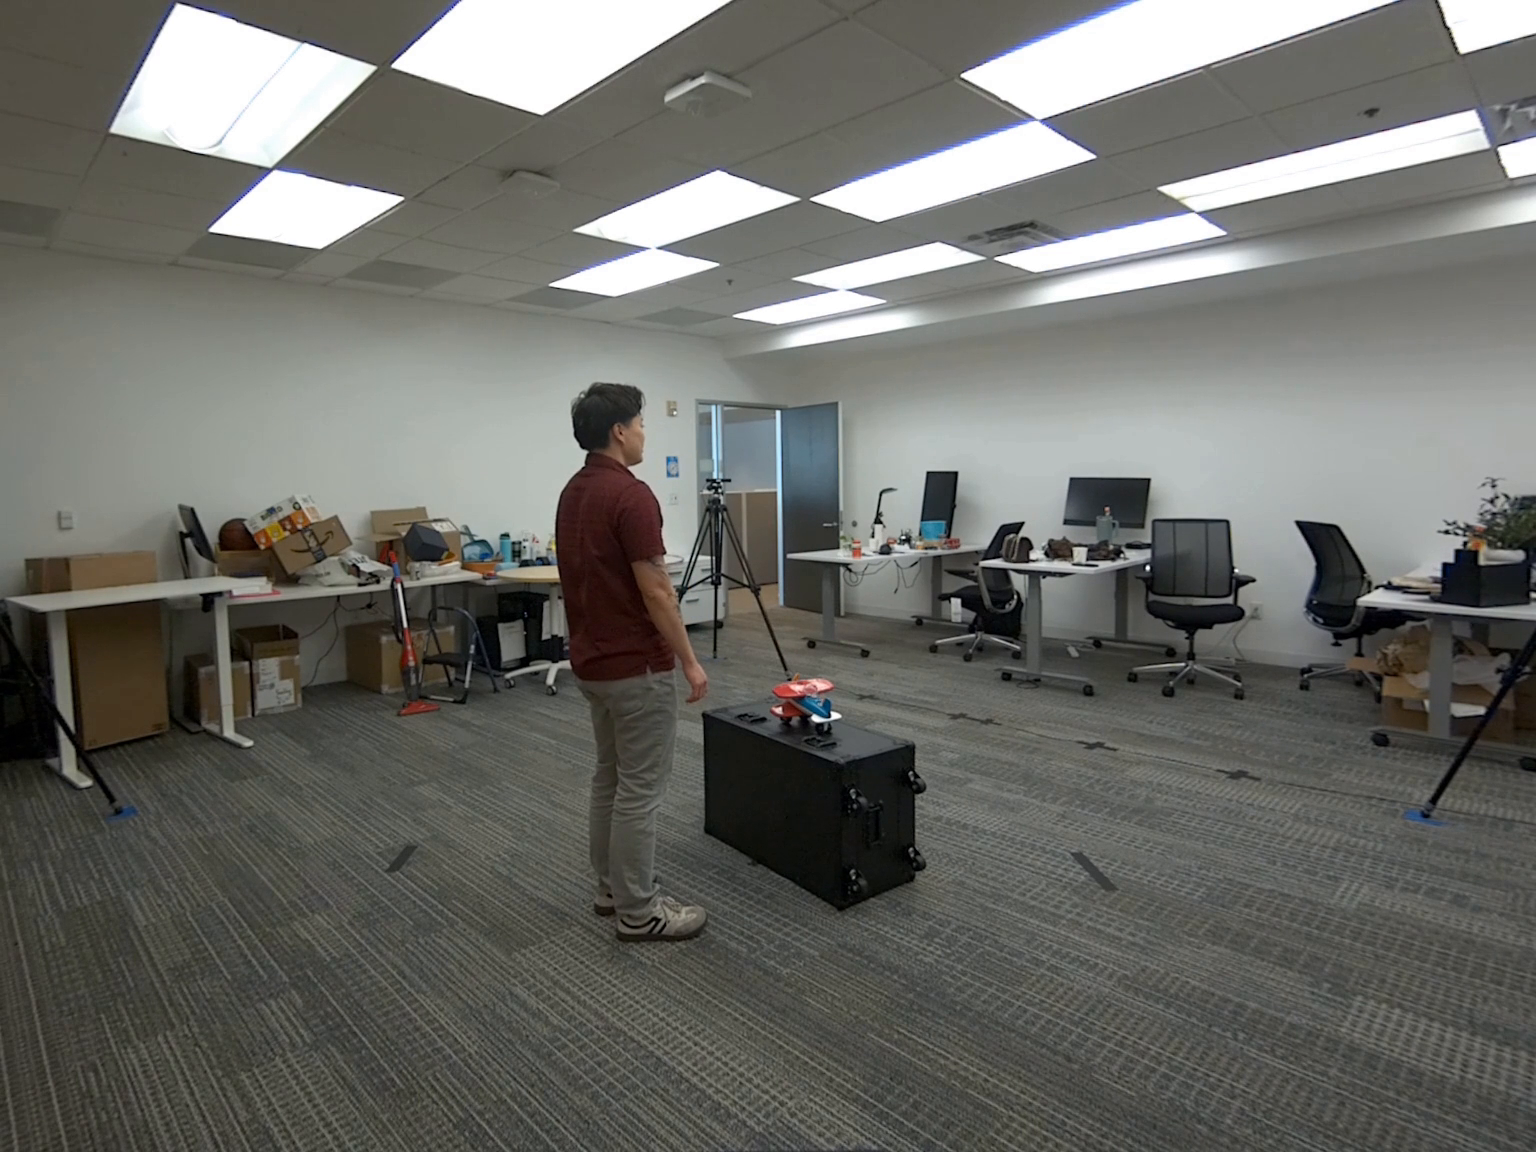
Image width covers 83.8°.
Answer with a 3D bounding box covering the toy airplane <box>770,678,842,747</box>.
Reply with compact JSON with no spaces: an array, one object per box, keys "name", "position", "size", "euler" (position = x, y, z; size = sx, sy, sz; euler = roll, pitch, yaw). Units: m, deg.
[{"name":"toy airplane","position":[0.163,0.474,3.151],"size":[0.266,0.156,0.245],"euler":[0,5,31]}]
